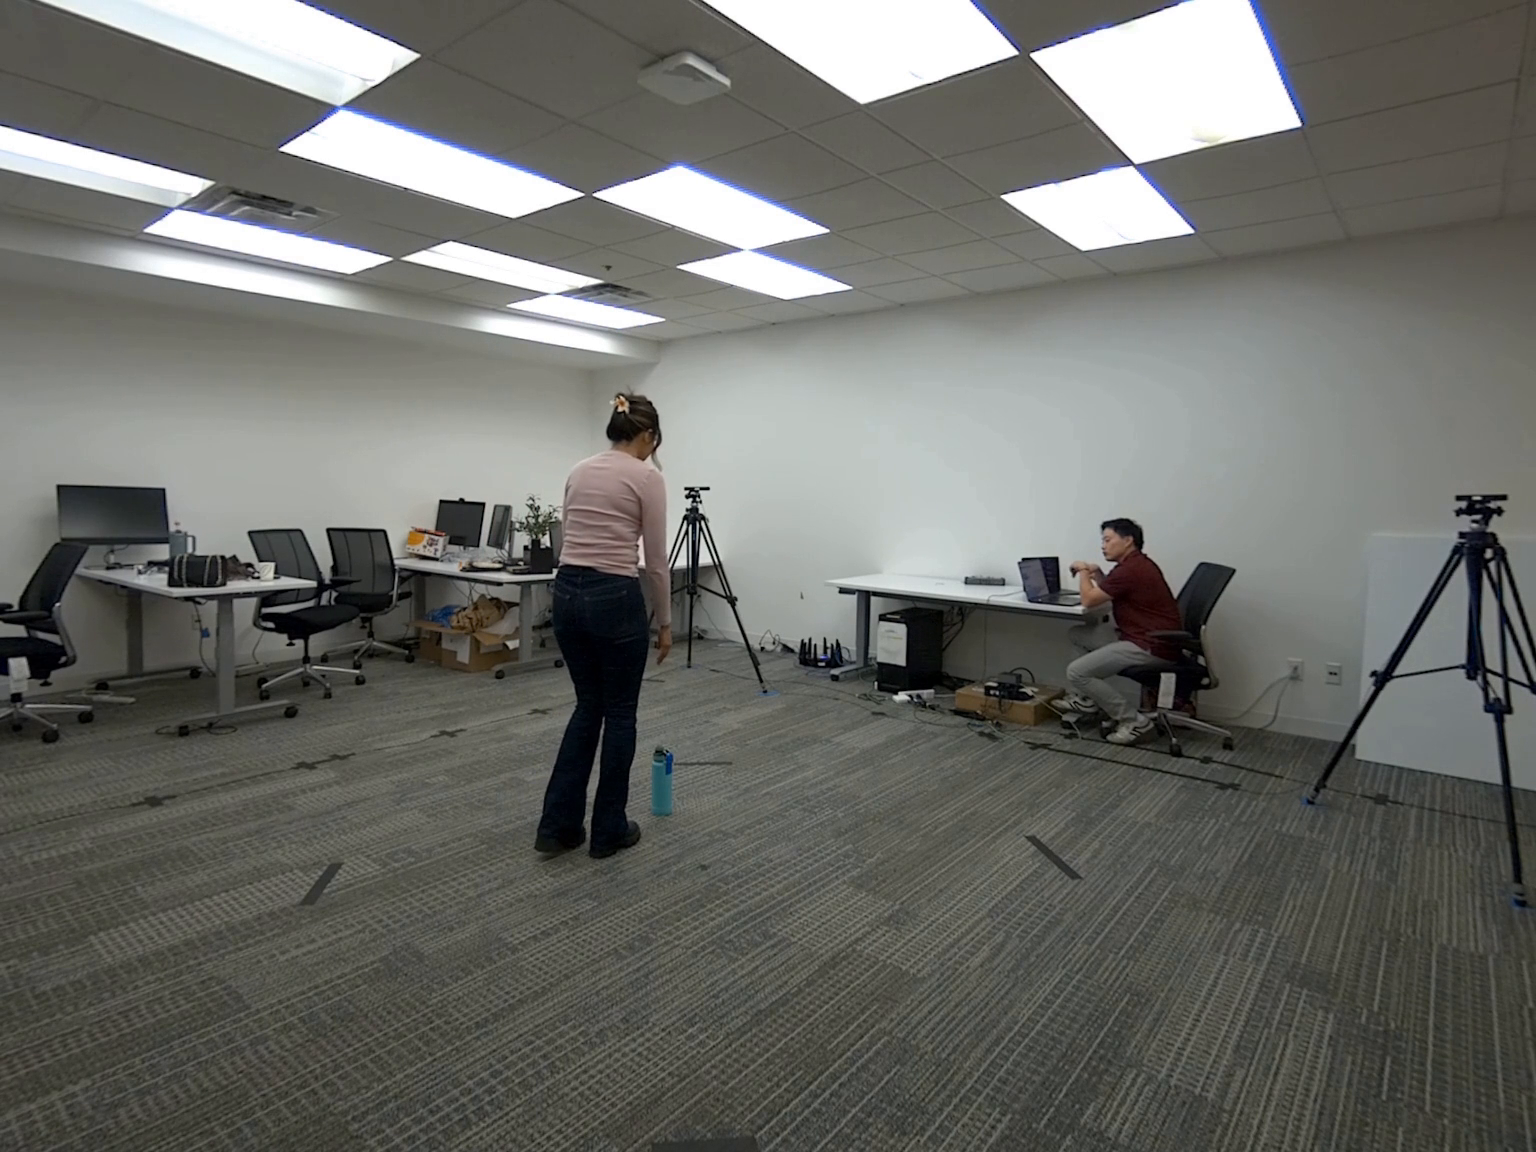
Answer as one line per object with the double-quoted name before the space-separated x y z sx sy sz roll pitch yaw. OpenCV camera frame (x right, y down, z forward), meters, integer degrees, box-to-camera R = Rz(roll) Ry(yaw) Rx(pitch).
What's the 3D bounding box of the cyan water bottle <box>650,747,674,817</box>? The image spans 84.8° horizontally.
"cyan water bottle" -0.464 0.870 3.648 0.092 0.282 0.093 2 4 -2
